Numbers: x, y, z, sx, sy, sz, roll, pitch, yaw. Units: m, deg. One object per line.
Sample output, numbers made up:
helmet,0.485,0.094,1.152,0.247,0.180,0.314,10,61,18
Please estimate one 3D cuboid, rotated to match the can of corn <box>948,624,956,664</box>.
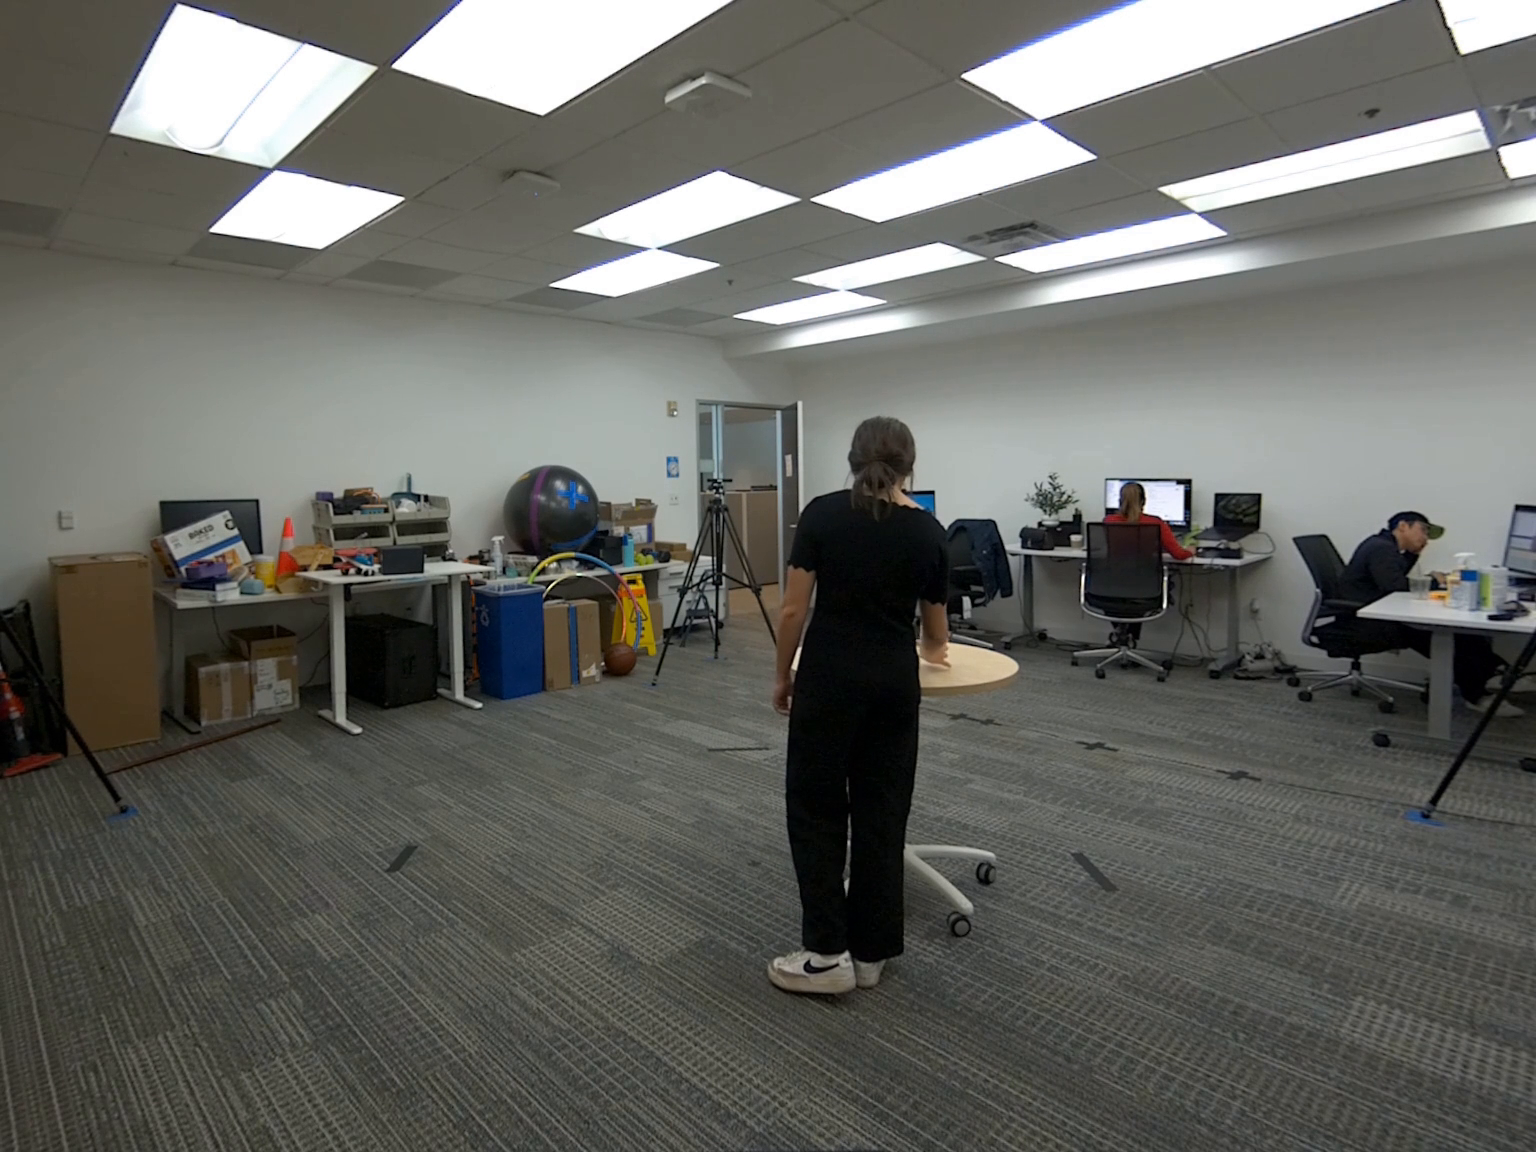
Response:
can of corn,0.545,0.213,2.719,0.074,0.110,0.074,0,4,-2
